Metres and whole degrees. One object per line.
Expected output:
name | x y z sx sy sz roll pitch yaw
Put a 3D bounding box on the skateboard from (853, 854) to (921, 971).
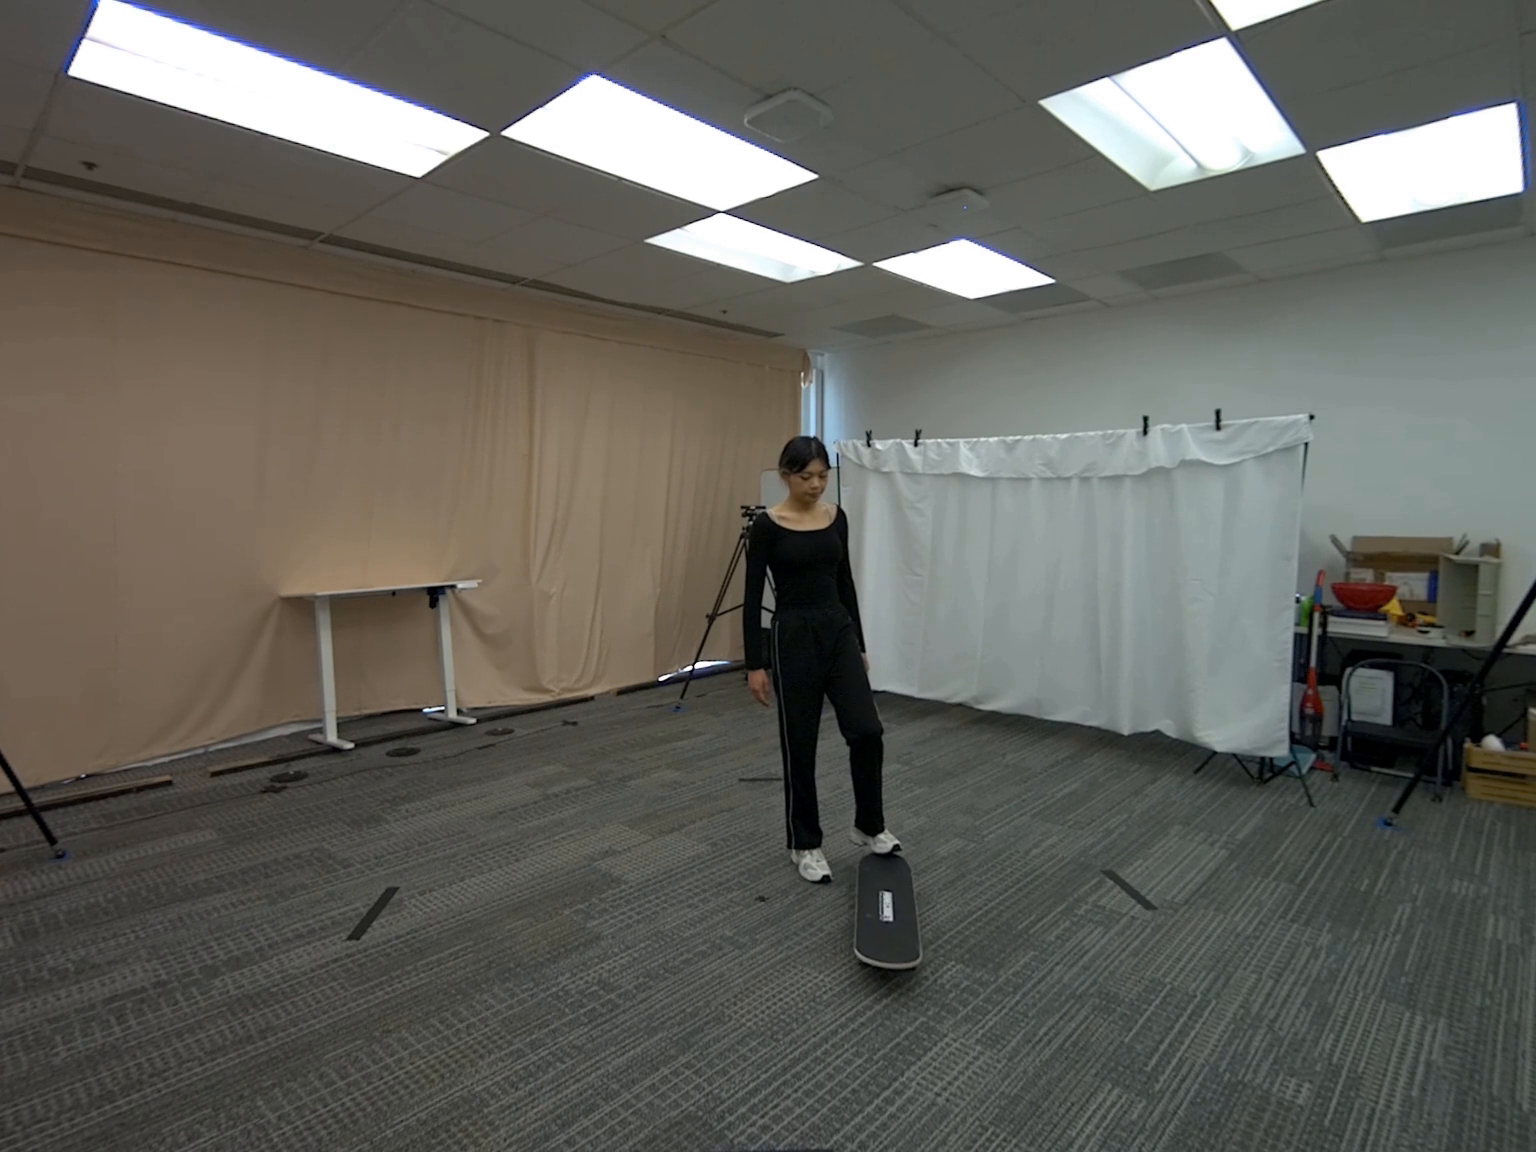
skateboard | 0.390 1.103 2.736 0.195 0.110 0.780 -1 4 7
